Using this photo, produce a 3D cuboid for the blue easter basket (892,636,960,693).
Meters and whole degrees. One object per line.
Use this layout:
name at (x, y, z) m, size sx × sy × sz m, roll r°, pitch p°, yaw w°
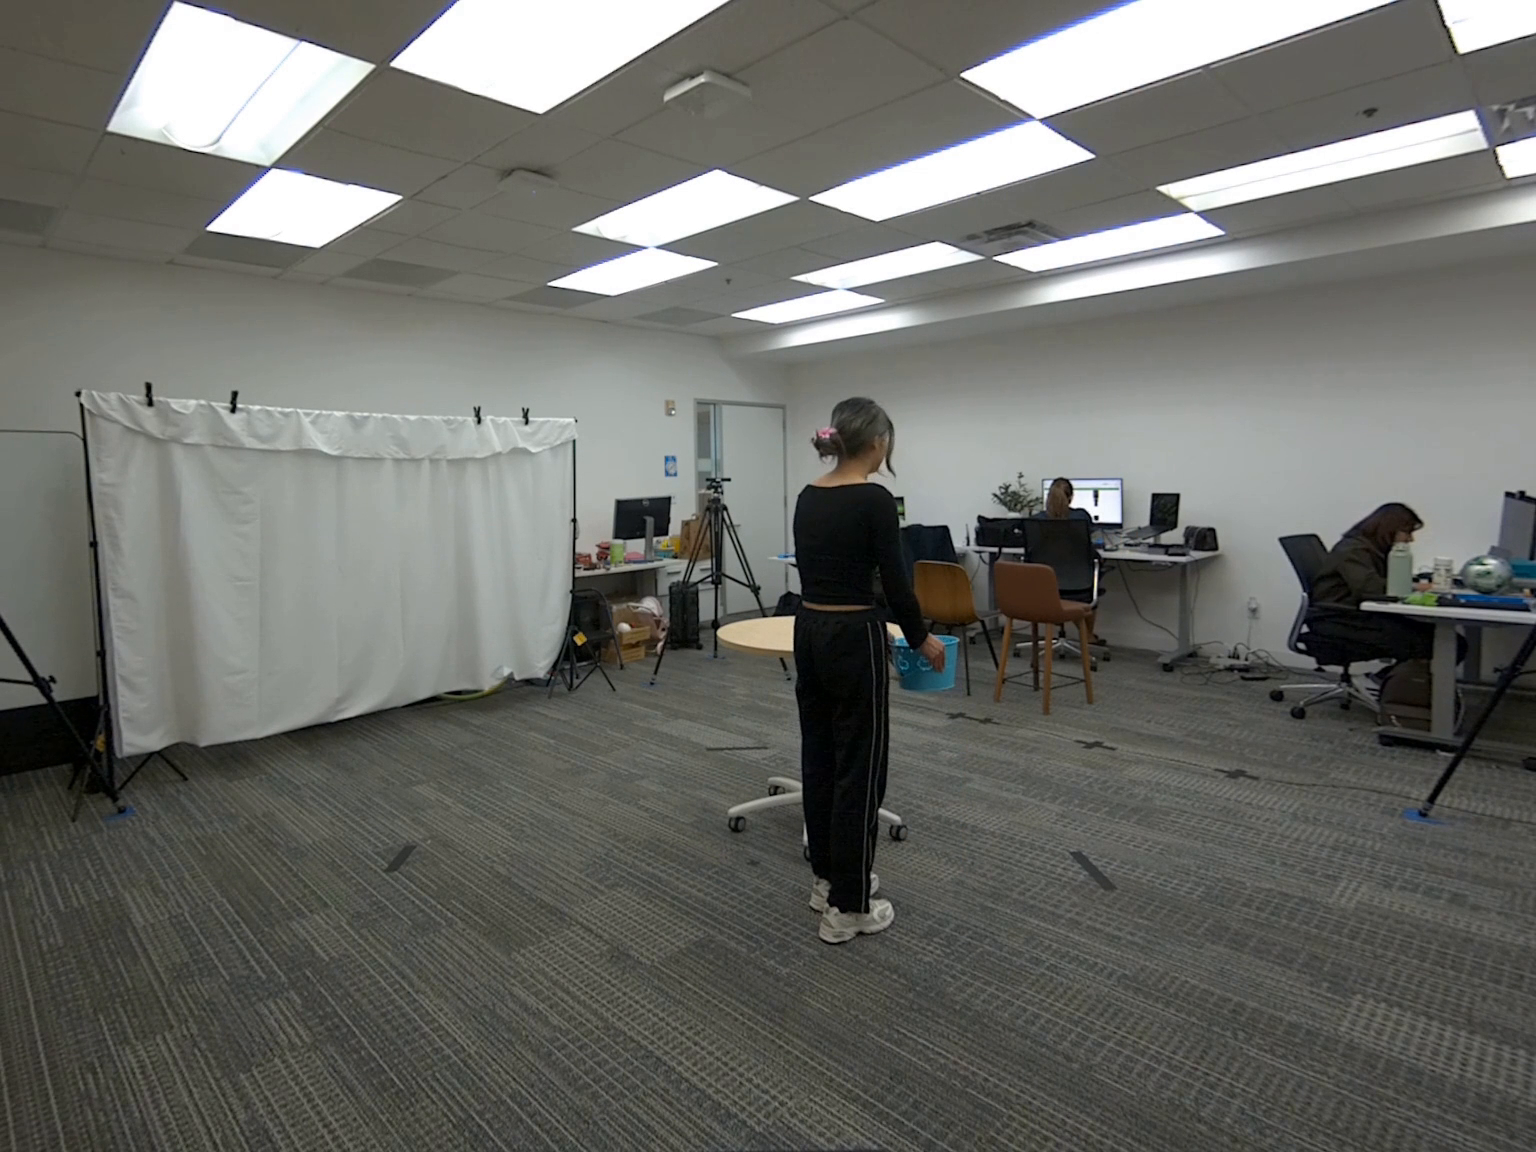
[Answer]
blue easter basket at (0.530, 0.298, 2.864) m, size 0.243 × 0.155 × 0.244 m, roll -4°, pitch 3°, yaw -2°
